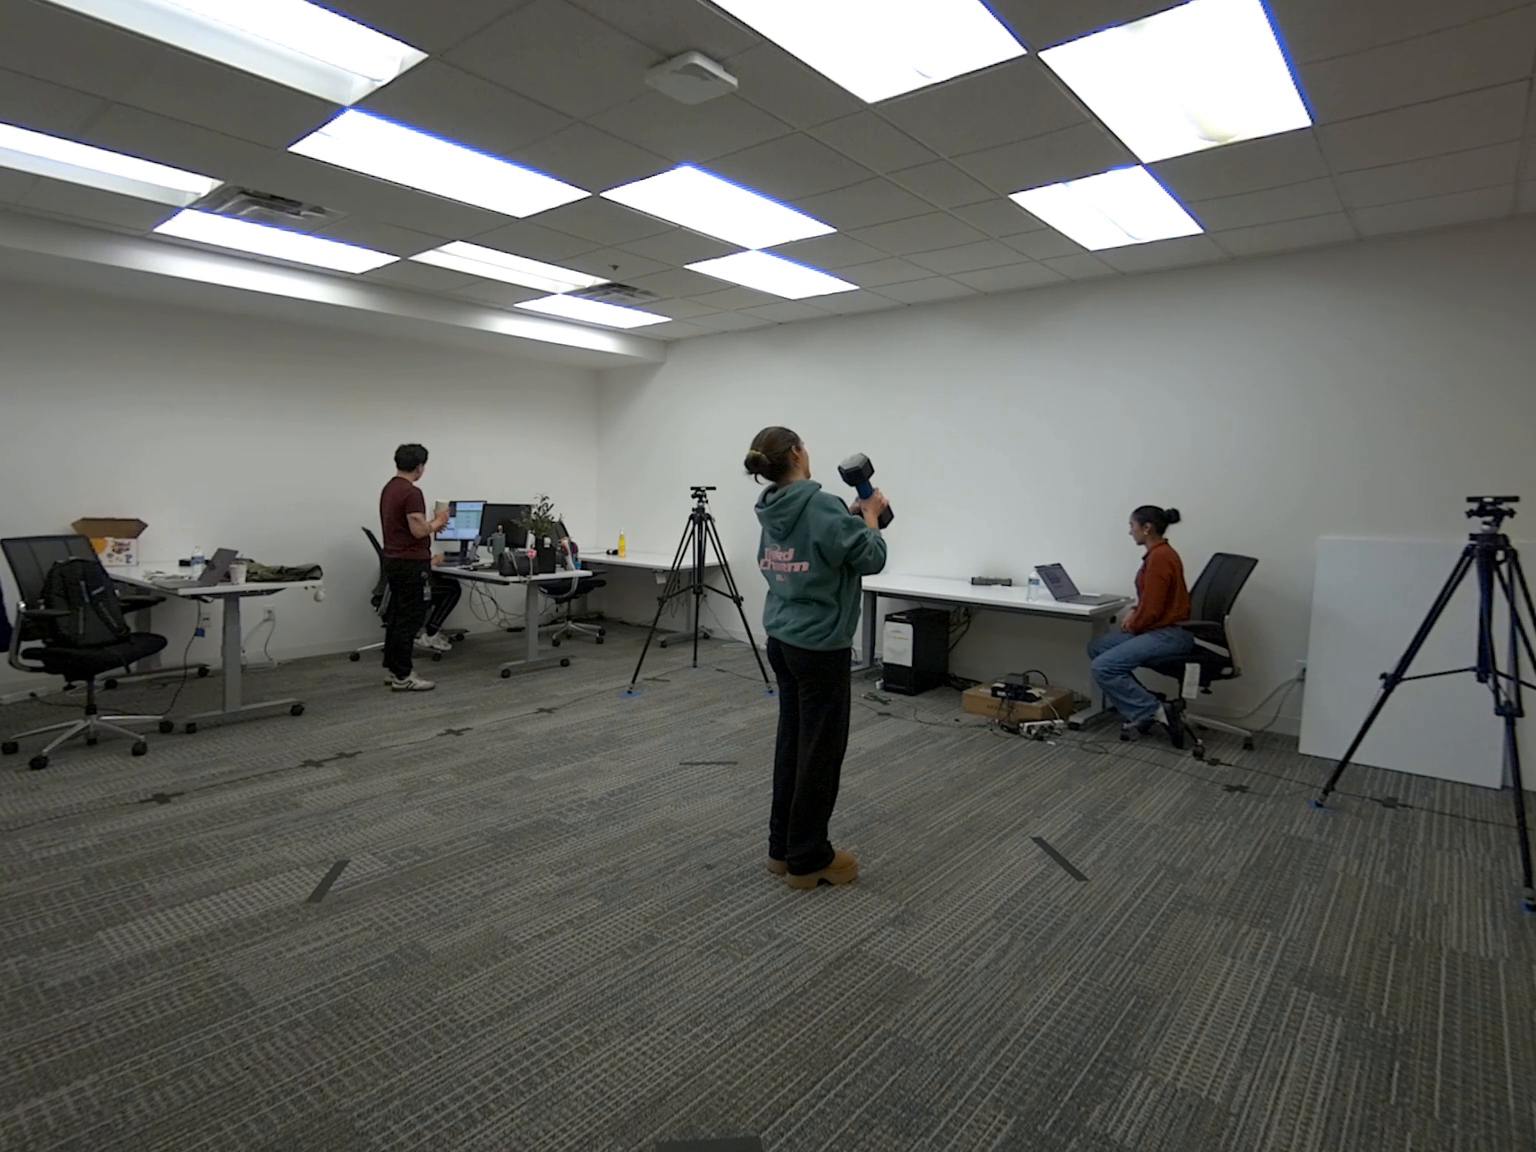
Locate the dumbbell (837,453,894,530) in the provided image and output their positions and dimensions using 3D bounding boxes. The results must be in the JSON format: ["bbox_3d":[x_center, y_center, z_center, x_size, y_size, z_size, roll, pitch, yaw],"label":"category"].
[{"bbox_3d":[0.351,-0.316,3.118,0.112,0.284,0.123,10,47,49],"label":"dumbbell"}]
